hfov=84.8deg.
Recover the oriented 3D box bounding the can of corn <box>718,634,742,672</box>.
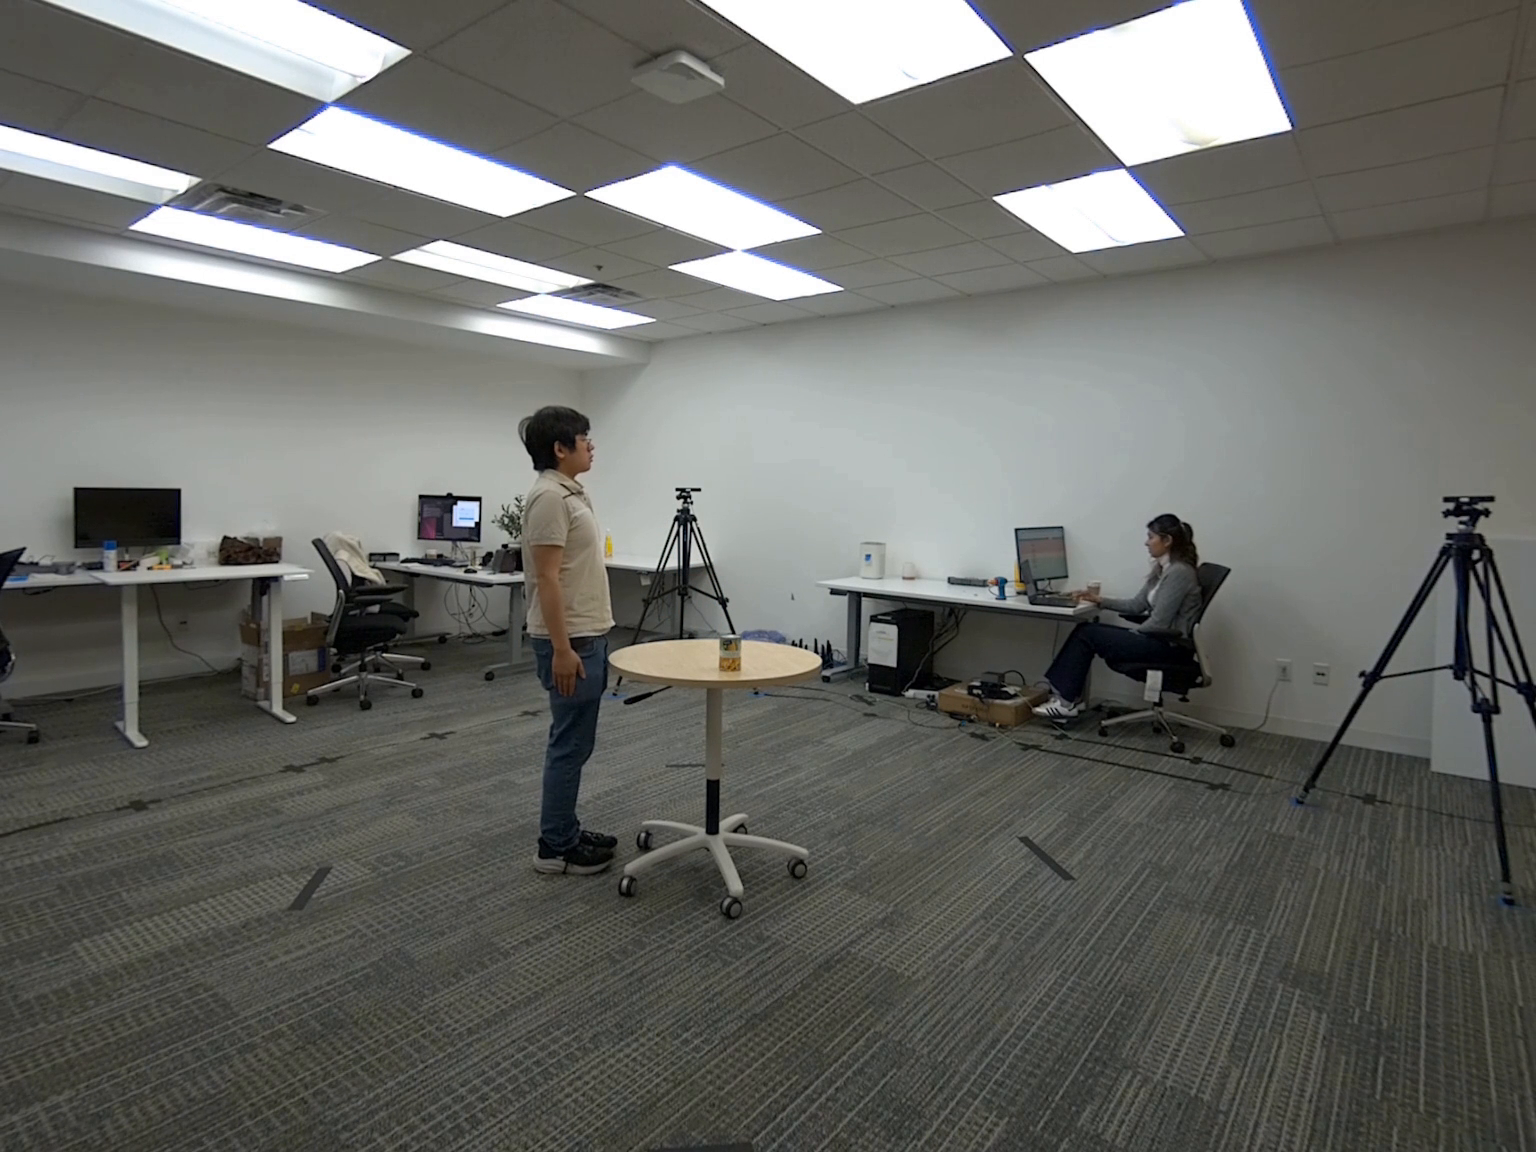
[{"bbox_3d":[-0.146,0.252,2.851,0.074,0.111,0.074,0,2,-2],"label":"can of corn"}]
